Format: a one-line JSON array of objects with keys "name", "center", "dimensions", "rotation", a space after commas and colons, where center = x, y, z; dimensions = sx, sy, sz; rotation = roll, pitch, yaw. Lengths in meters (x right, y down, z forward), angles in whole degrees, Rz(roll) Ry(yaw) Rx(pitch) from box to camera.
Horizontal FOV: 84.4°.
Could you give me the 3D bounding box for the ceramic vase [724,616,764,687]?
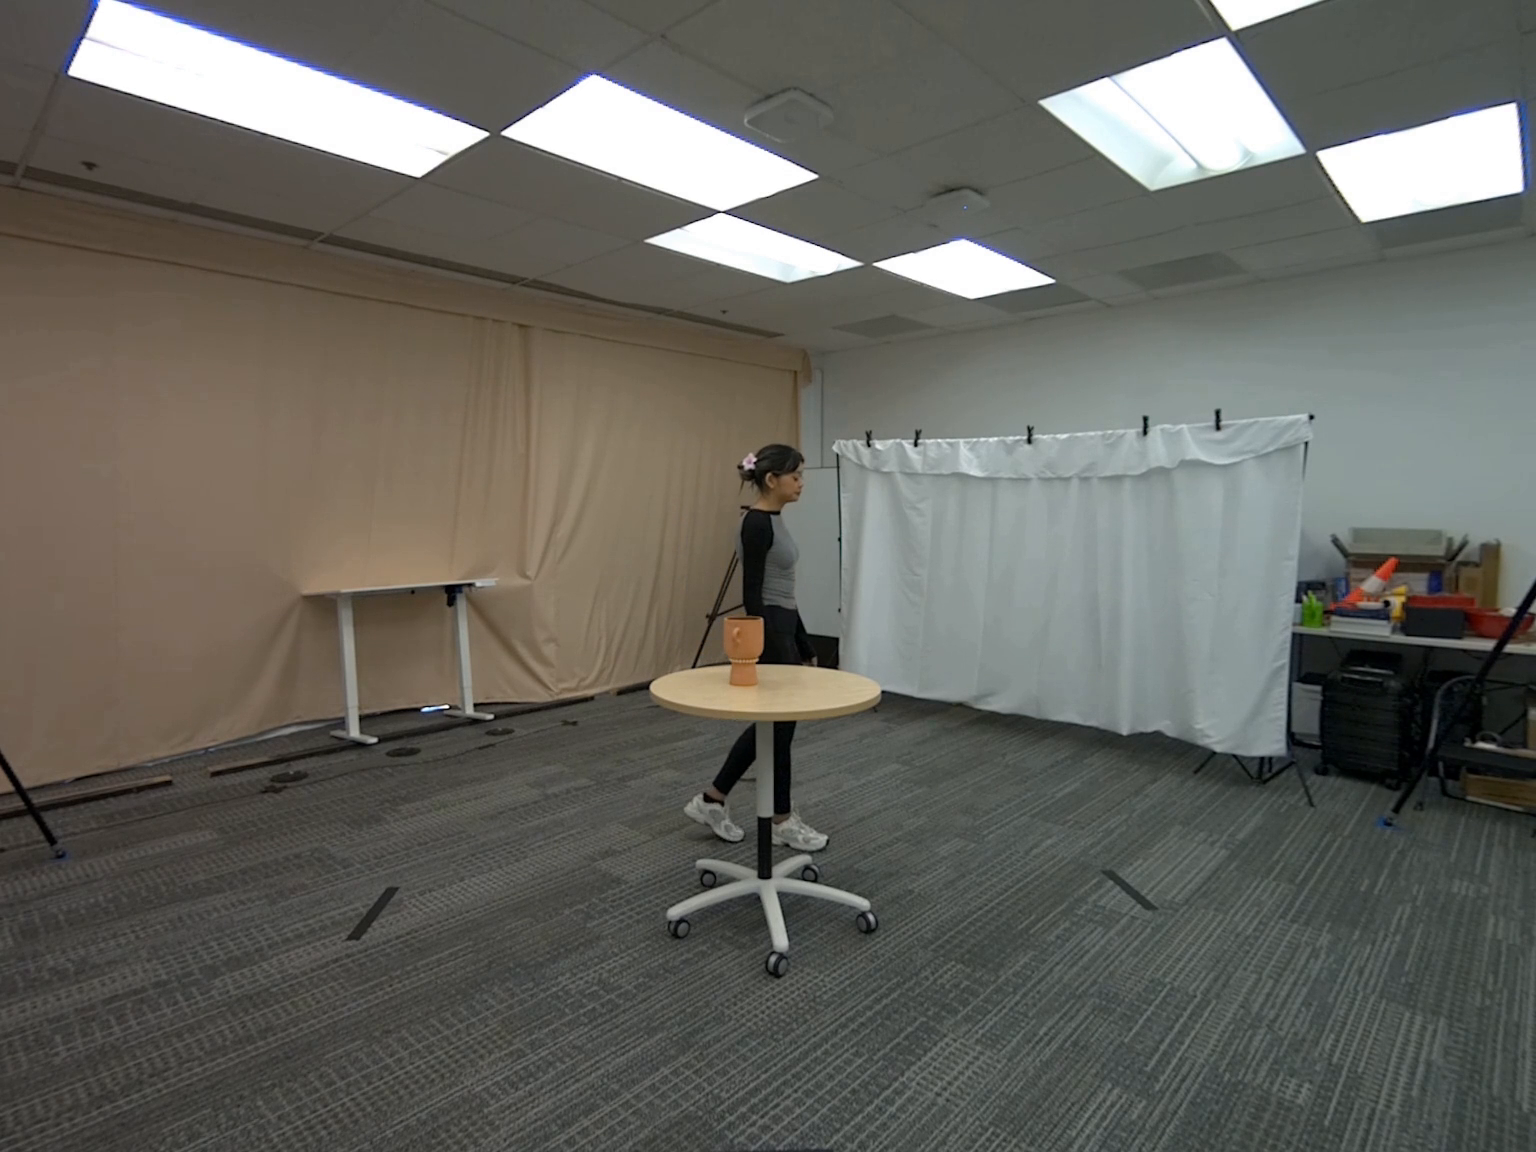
[{"name": "ceramic vase", "center": [-0.078, 0.253, 2.839], "dimensions": [0.154, 0.219, 0.138], "rotation": [-2, 3, -32]}]
